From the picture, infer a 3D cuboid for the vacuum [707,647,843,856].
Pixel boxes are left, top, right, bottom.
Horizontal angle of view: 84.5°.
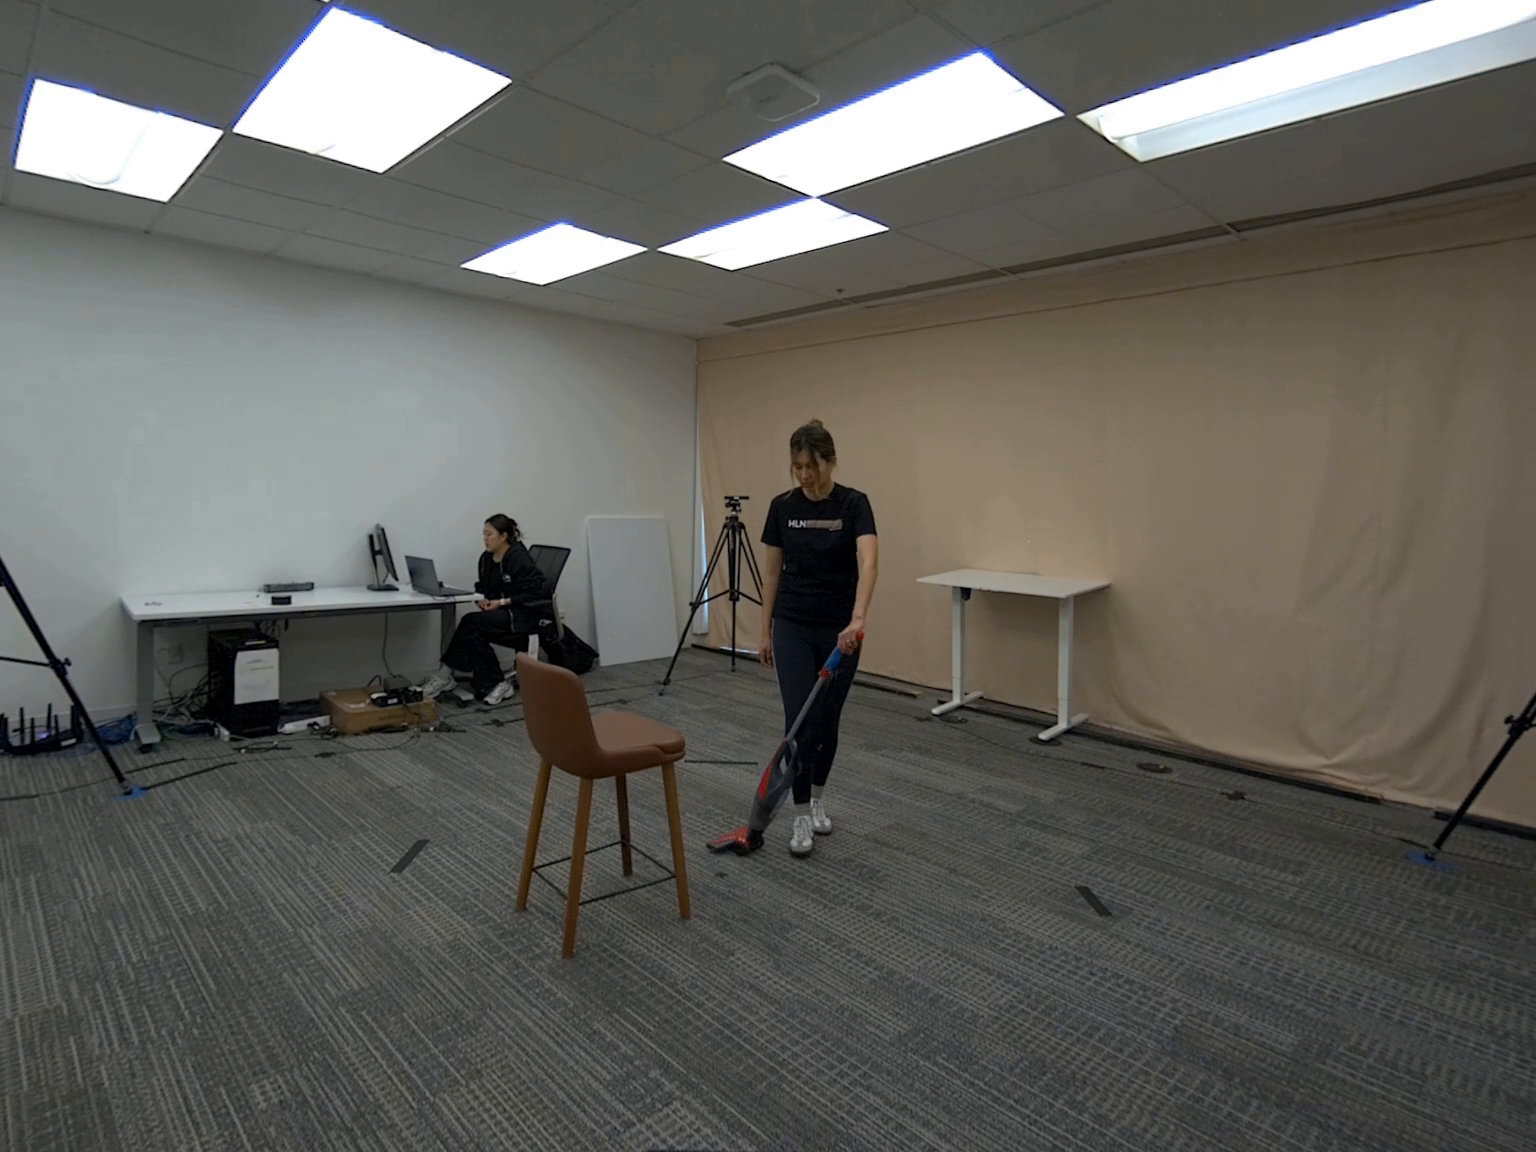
[{"bbox_3d":[0.099,0.649,3.156,0.148,1.043,0.247,41,26,28],"label":"vacuum"}]
